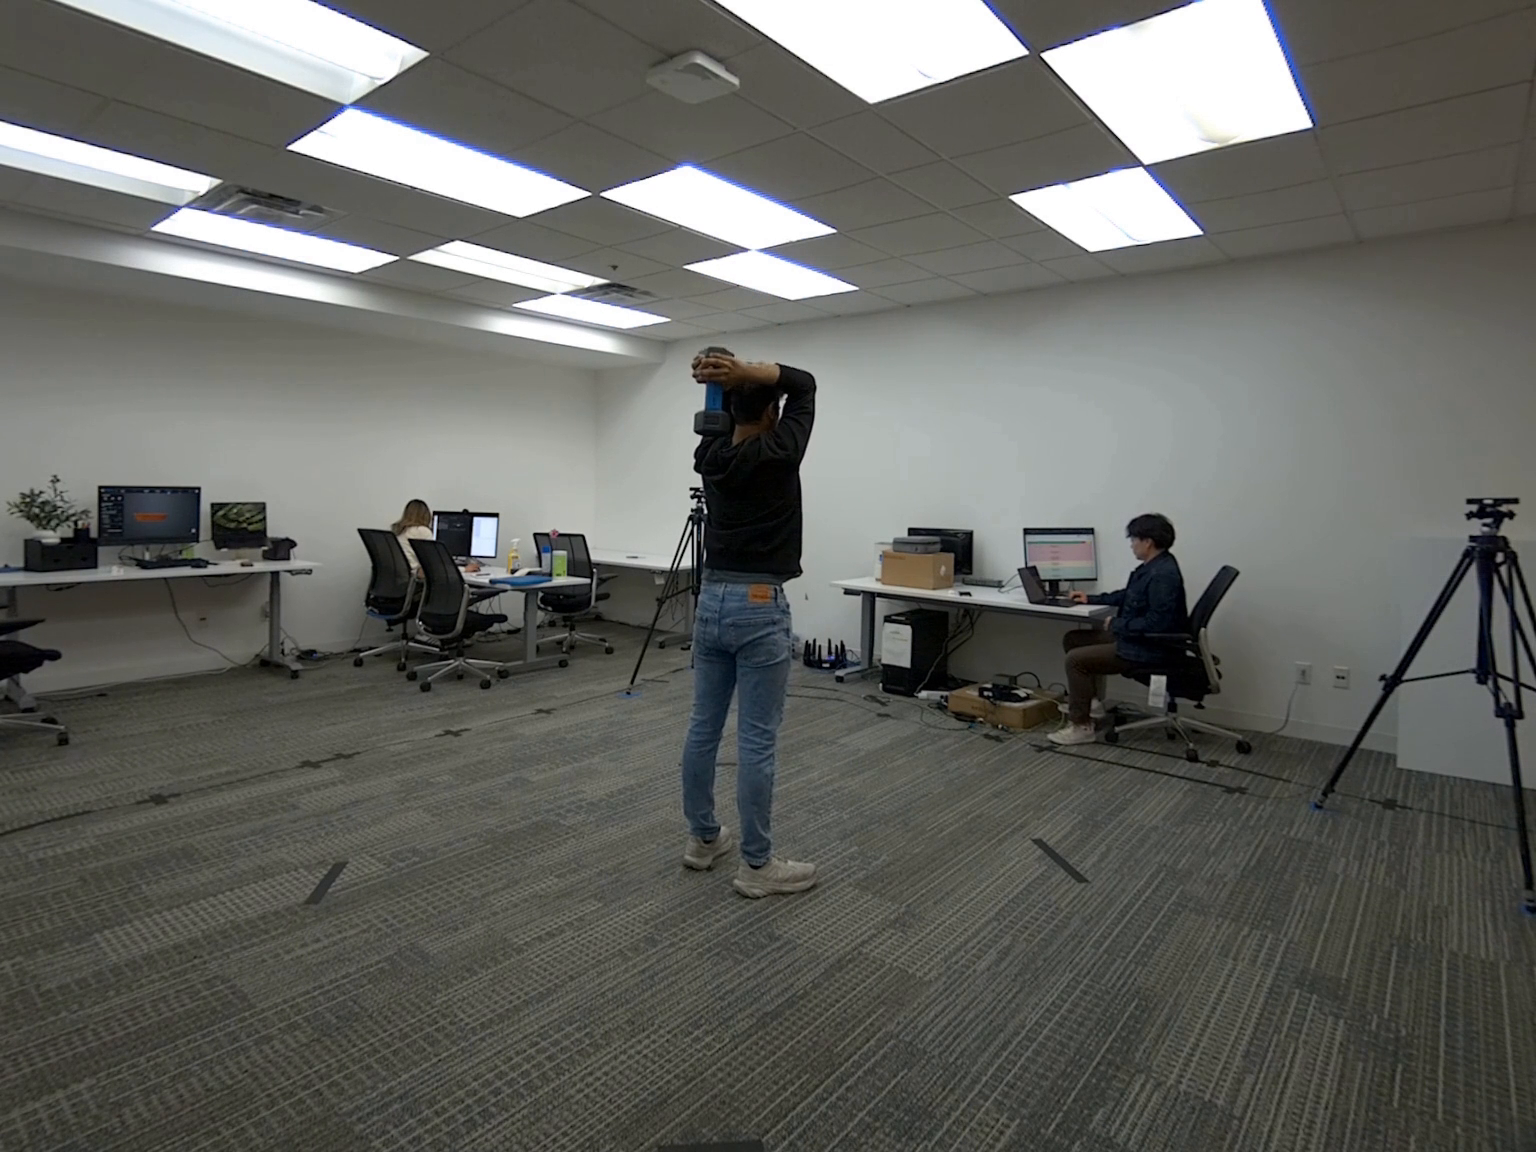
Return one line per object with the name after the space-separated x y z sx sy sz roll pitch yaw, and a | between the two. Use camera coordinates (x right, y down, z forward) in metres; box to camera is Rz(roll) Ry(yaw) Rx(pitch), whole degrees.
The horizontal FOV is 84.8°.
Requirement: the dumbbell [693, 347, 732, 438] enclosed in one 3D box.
-0.189 -0.627 2.886 0.105 0.295 0.126 3 -6 -39 | dumbbell
